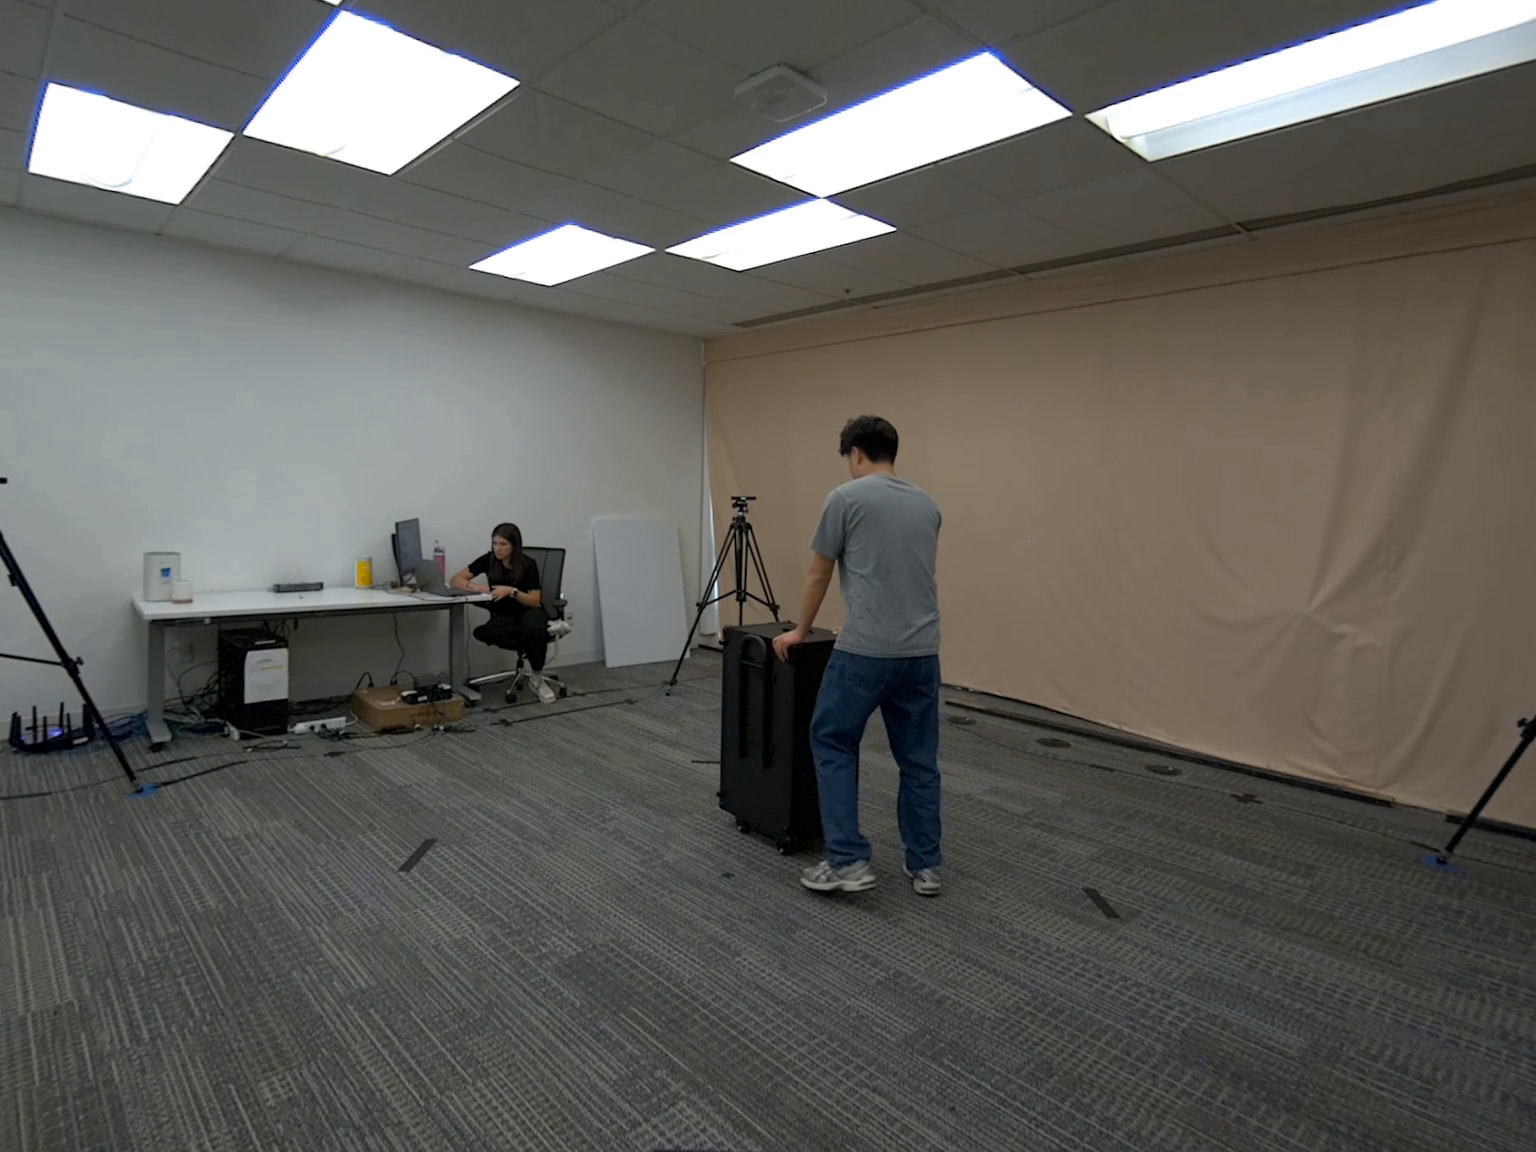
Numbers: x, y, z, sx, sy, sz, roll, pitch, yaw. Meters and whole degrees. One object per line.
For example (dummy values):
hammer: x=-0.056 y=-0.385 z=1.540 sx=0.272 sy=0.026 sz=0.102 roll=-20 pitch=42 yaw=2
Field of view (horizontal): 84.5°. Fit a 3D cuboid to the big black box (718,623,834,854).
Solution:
big black box: x=0.071 y=0.656 z=3.477 sx=0.387 sy=0.859 sz=0.534 roll=-2 pitch=5 yaw=-36
